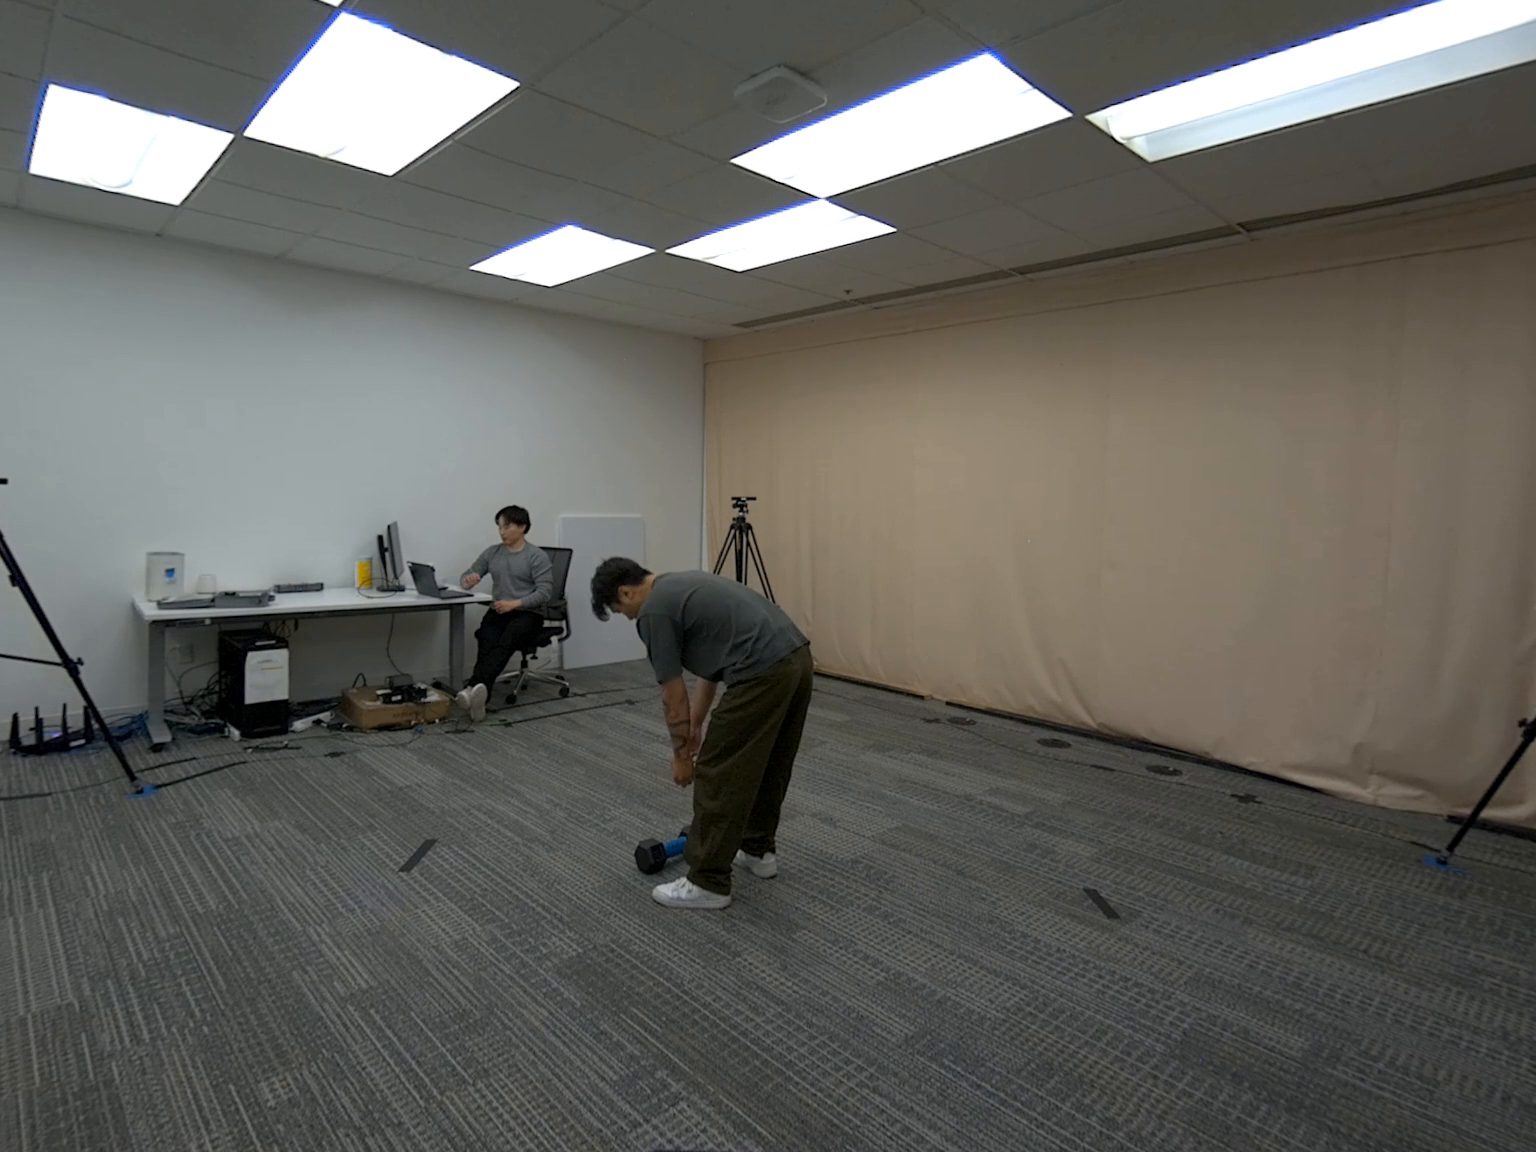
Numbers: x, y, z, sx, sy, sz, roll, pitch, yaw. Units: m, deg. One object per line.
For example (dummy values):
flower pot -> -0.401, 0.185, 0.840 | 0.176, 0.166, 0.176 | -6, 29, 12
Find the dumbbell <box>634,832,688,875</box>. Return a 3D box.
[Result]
dumbbell -> -0.366, 1.034, 3.203 | 0.287, 0.125, 0.109 | -4, -25, -44
